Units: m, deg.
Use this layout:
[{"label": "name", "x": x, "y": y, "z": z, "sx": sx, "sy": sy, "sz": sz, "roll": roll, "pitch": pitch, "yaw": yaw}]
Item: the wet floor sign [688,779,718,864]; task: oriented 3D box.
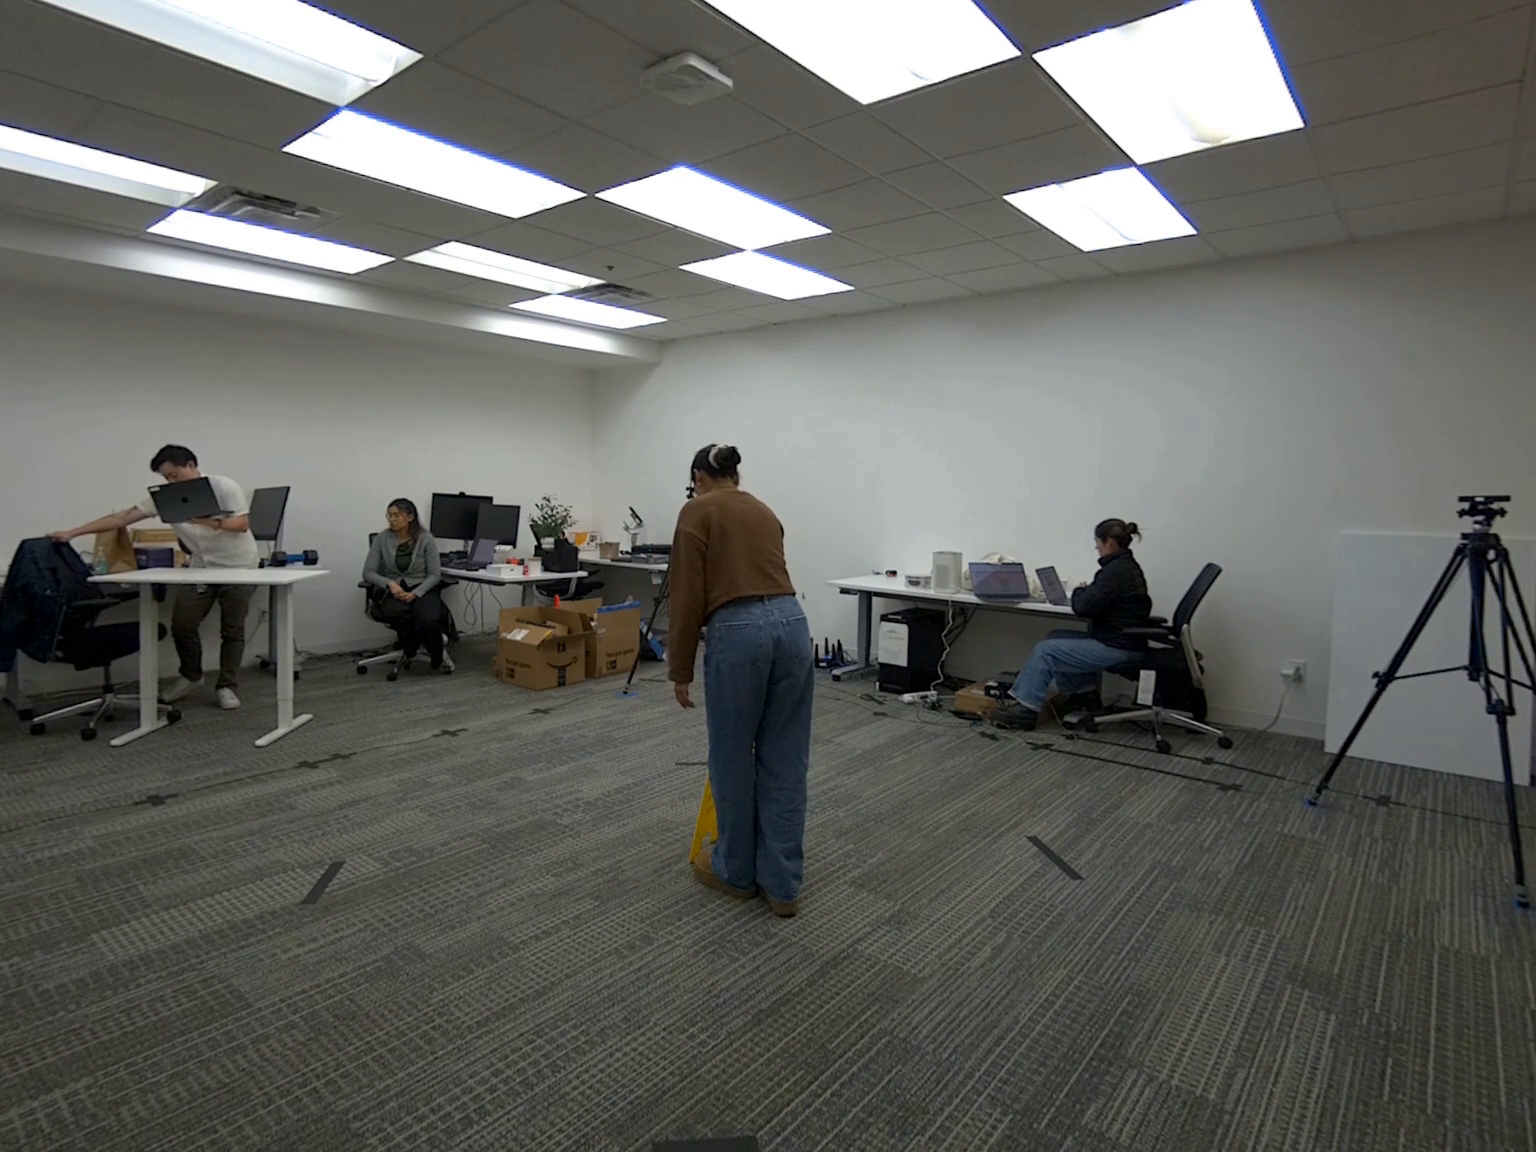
[{"label": "wet floor sign", "x": -0.122, "y": 0.726, "z": 3.210, "sx": 0.296, "sy": 0.644, "sz": 0.277, "roll": 2, "pitch": 4, "yaw": 19}]
